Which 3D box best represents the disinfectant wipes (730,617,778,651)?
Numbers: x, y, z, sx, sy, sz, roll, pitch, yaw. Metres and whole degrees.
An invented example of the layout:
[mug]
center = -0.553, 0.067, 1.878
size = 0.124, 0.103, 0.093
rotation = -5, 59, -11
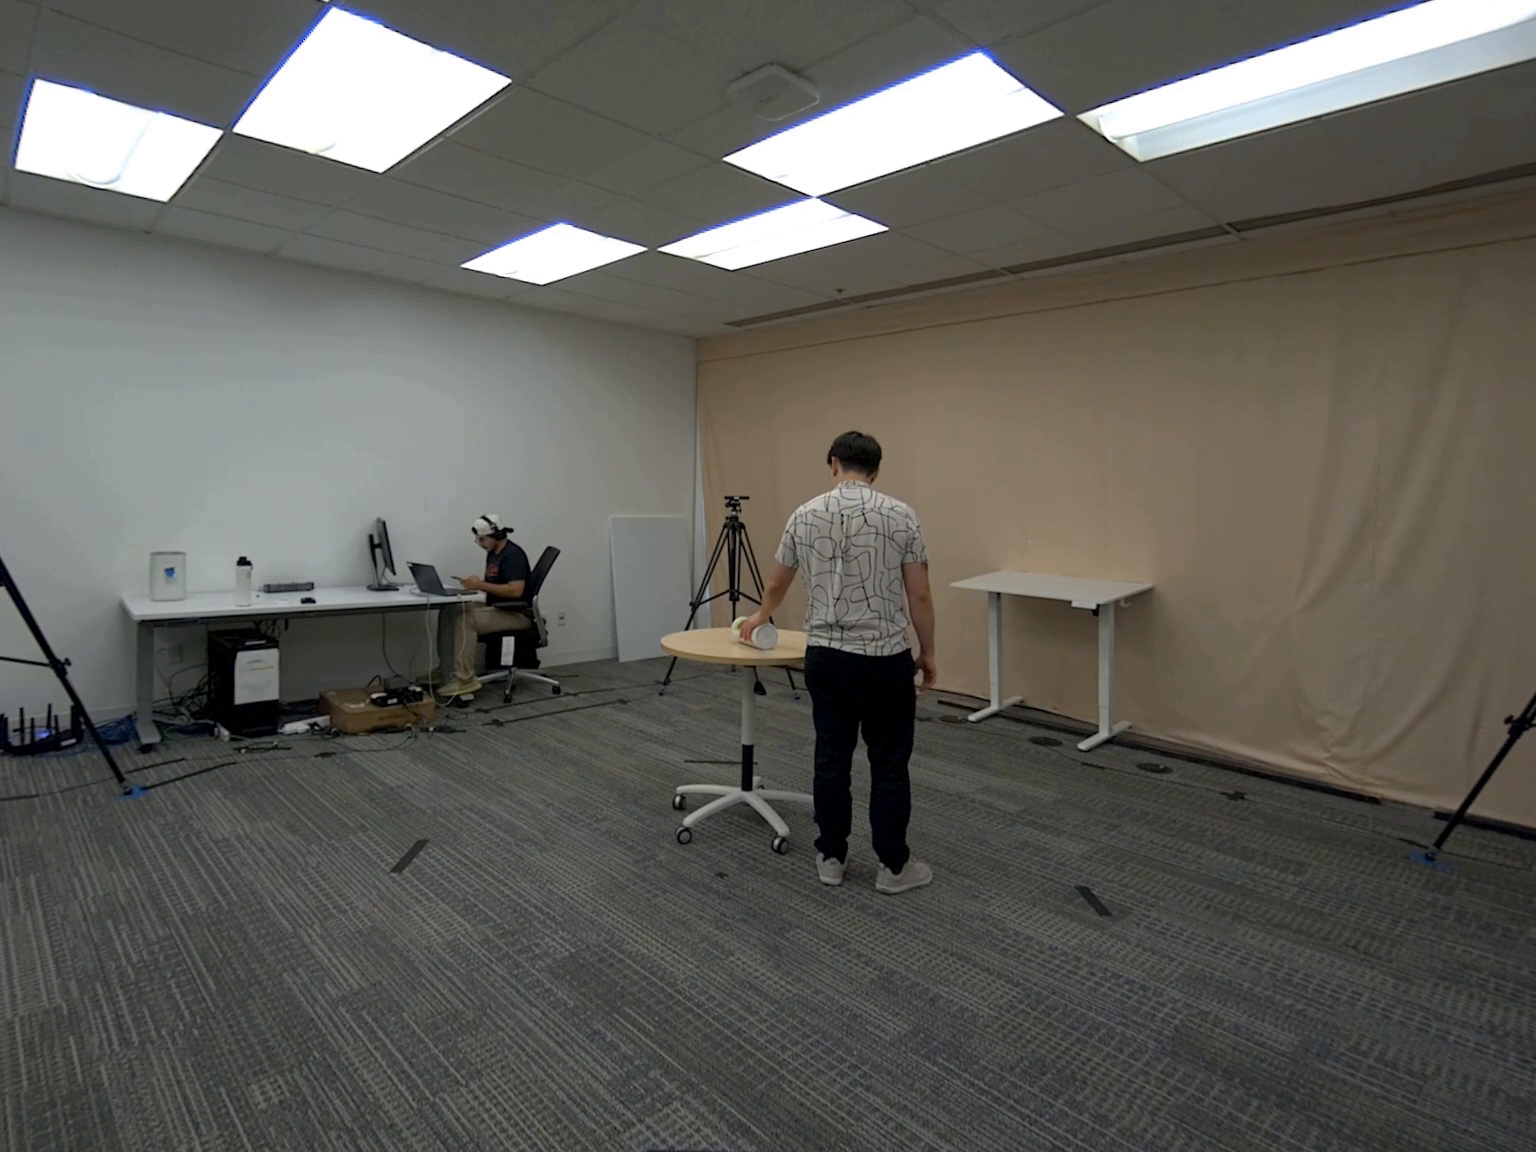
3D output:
[disinfectant wipes]
center = -0.056, 0.236, 3.489
size = 0.115, 0.117, 0.222
rotation = -1, 5, -26
